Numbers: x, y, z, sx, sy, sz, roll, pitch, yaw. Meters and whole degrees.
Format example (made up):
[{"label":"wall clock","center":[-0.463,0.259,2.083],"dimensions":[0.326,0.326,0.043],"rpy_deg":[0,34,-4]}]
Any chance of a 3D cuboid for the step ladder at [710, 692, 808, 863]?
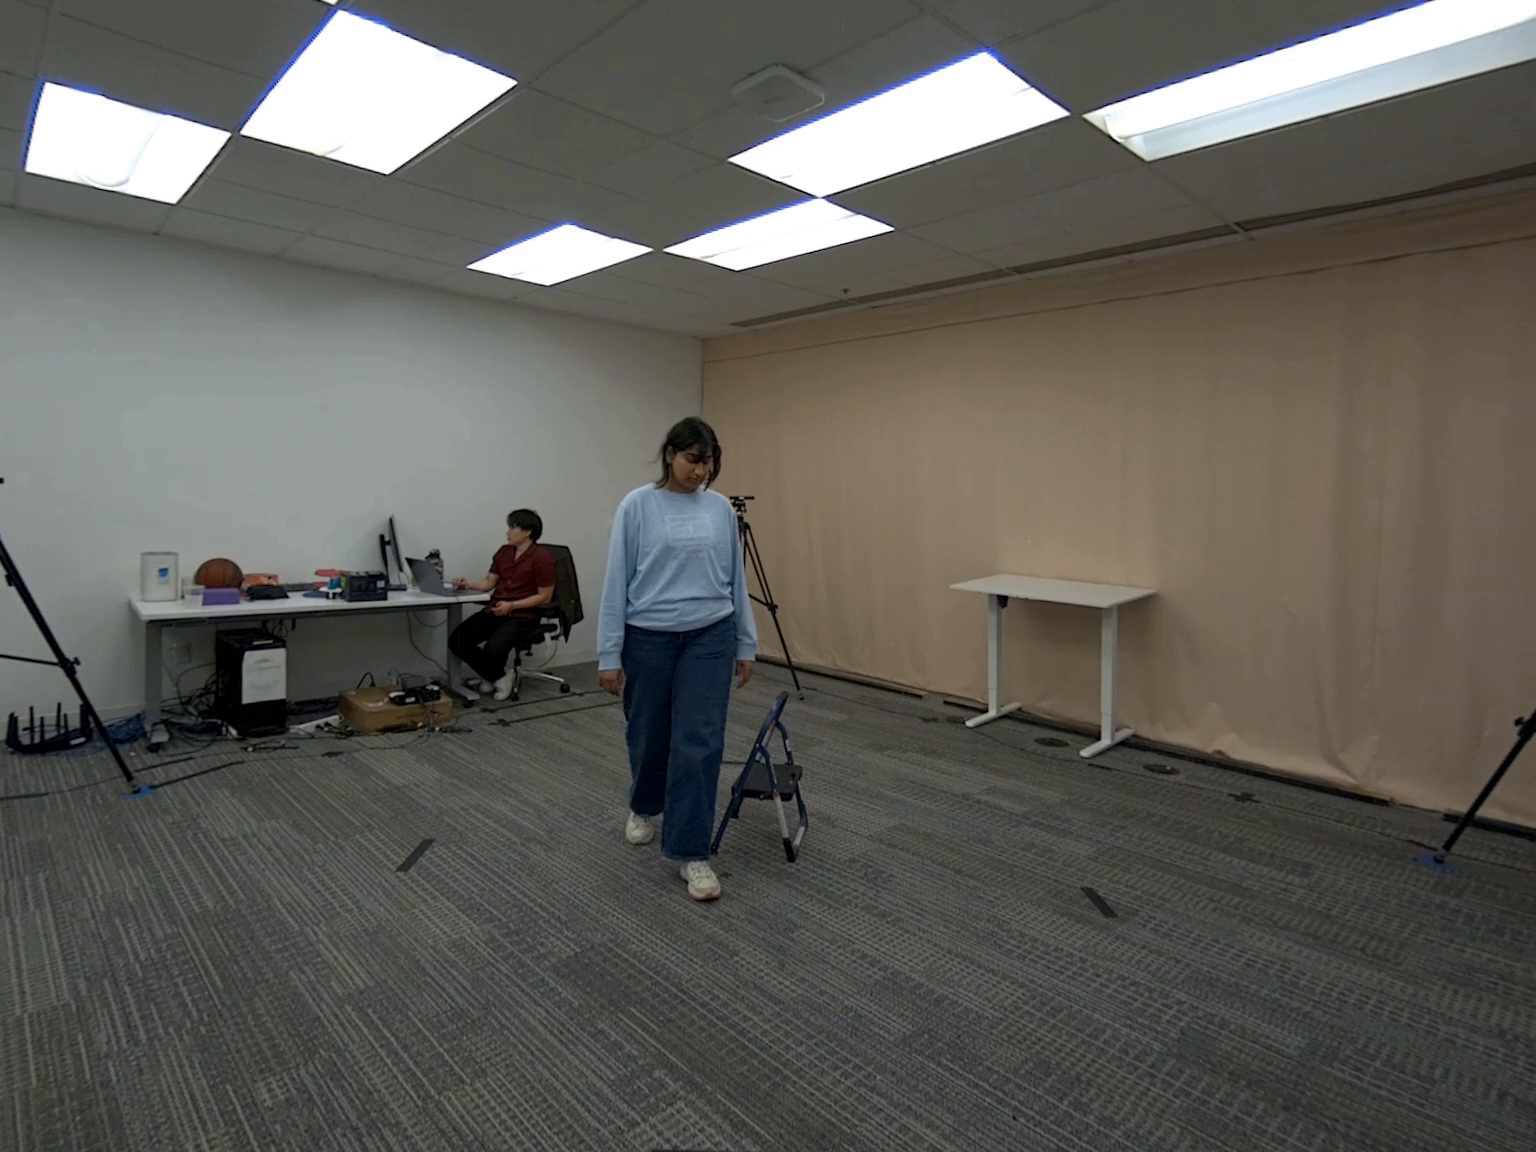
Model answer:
[{"label":"step ladder","center":[-0.030,0.775,3.444],"dimensions":[0.353,0.605,0.427],"rpy_deg":[1,3,11]}]
